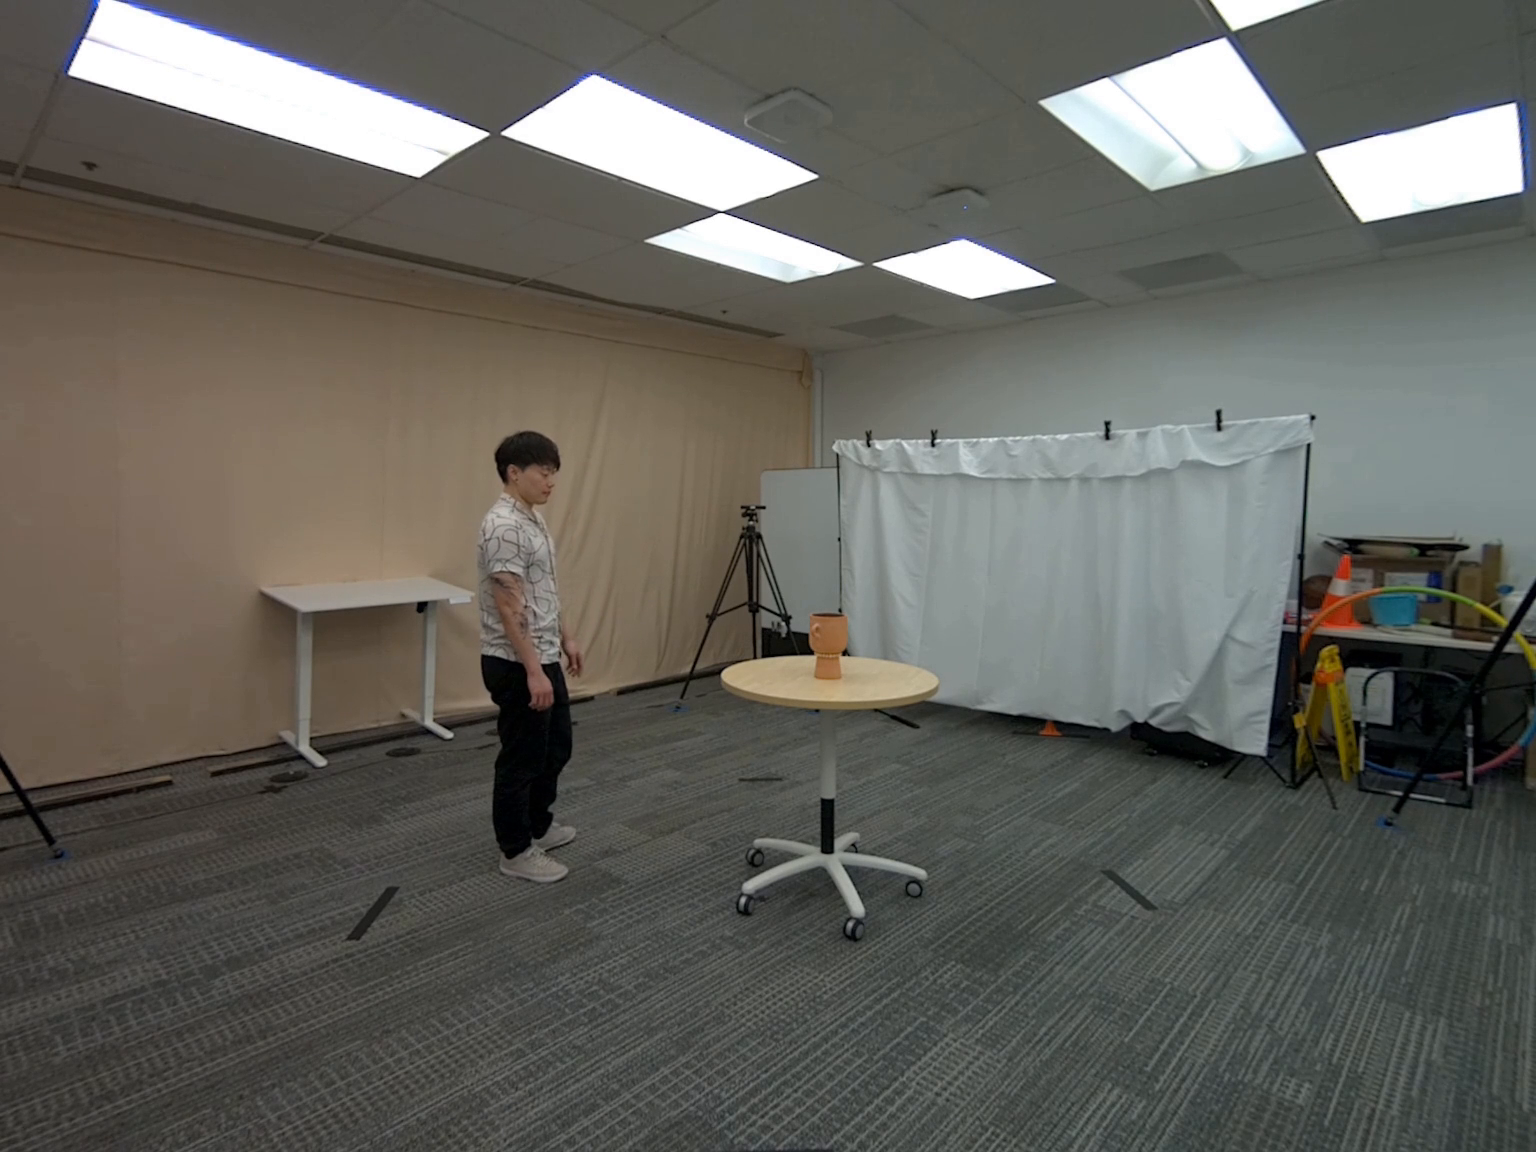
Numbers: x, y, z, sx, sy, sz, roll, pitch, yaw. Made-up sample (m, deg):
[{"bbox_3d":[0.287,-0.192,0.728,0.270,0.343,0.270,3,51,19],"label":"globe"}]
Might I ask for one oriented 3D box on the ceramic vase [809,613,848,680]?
[{"bbox_3d":[0.216,0.252,2.971,0.157,0.219,0.136,0,3,-12],"label":"ceramic vase"}]
